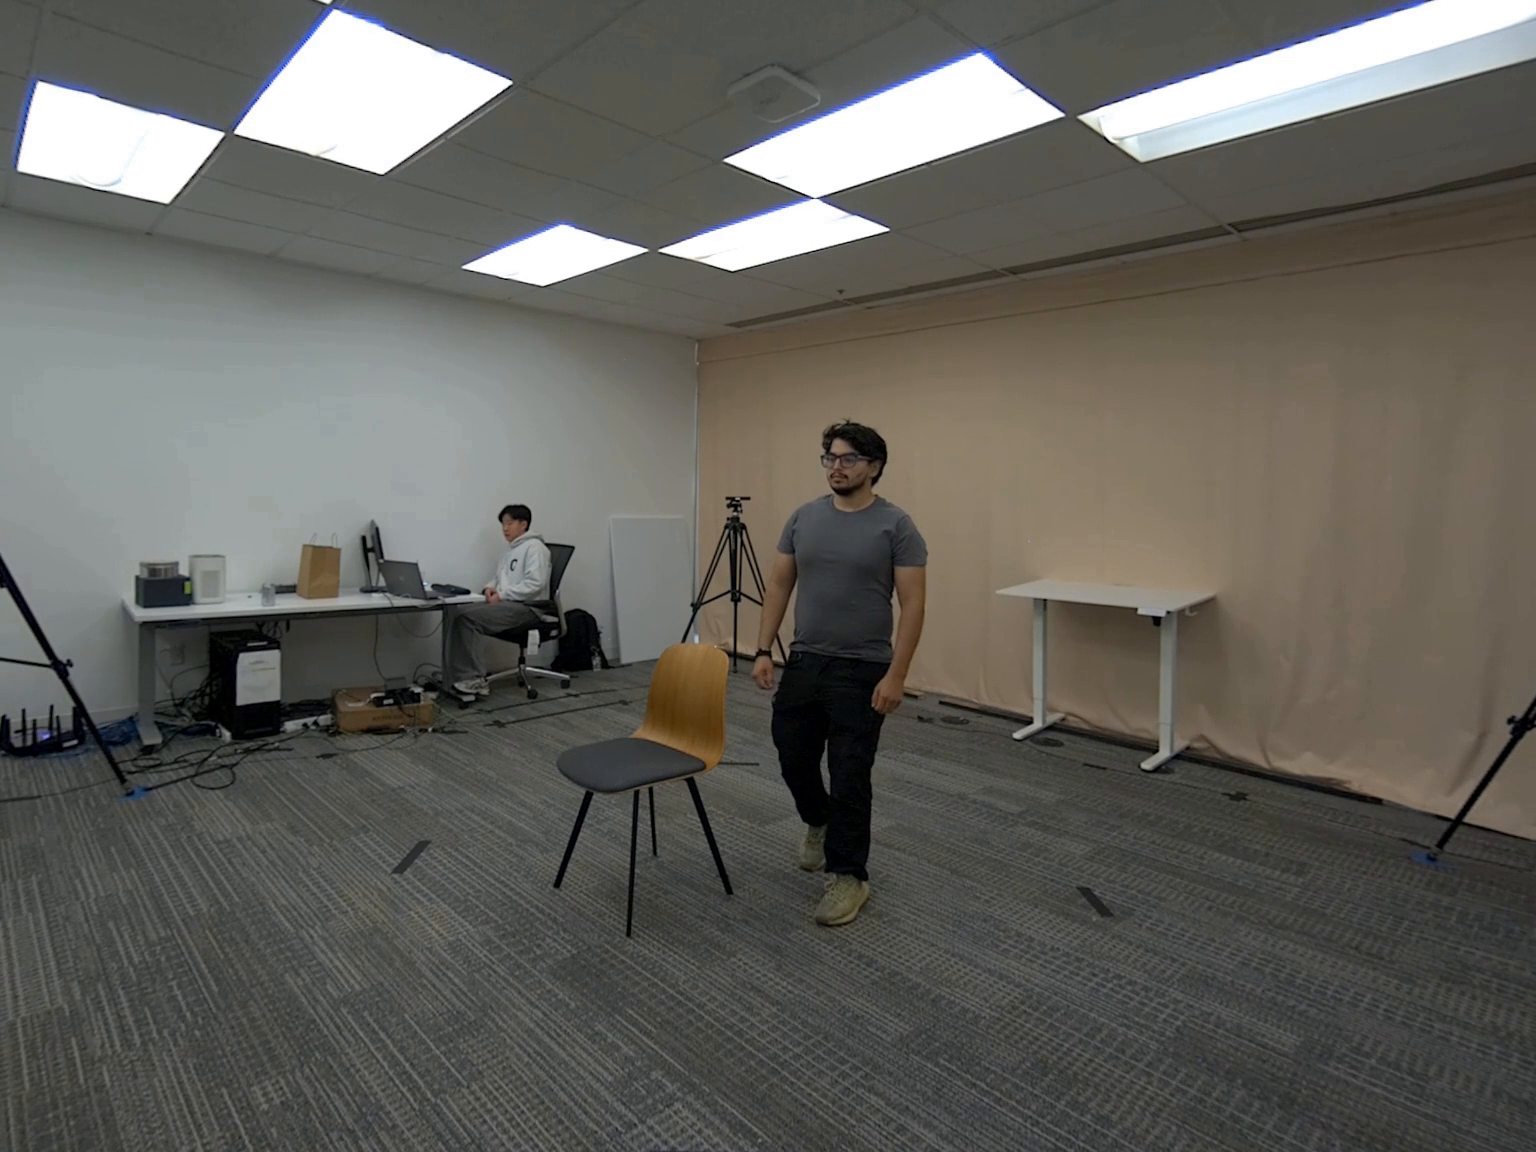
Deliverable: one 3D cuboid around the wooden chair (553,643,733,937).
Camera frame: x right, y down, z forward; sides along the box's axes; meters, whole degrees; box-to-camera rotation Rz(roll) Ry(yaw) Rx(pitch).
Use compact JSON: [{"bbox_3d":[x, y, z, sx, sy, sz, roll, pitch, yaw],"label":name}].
[{"bbox_3d":[-0.439,0.686,2.934,0.510,0.877,0.490,4,0,-45],"label":"wooden chair"}]
